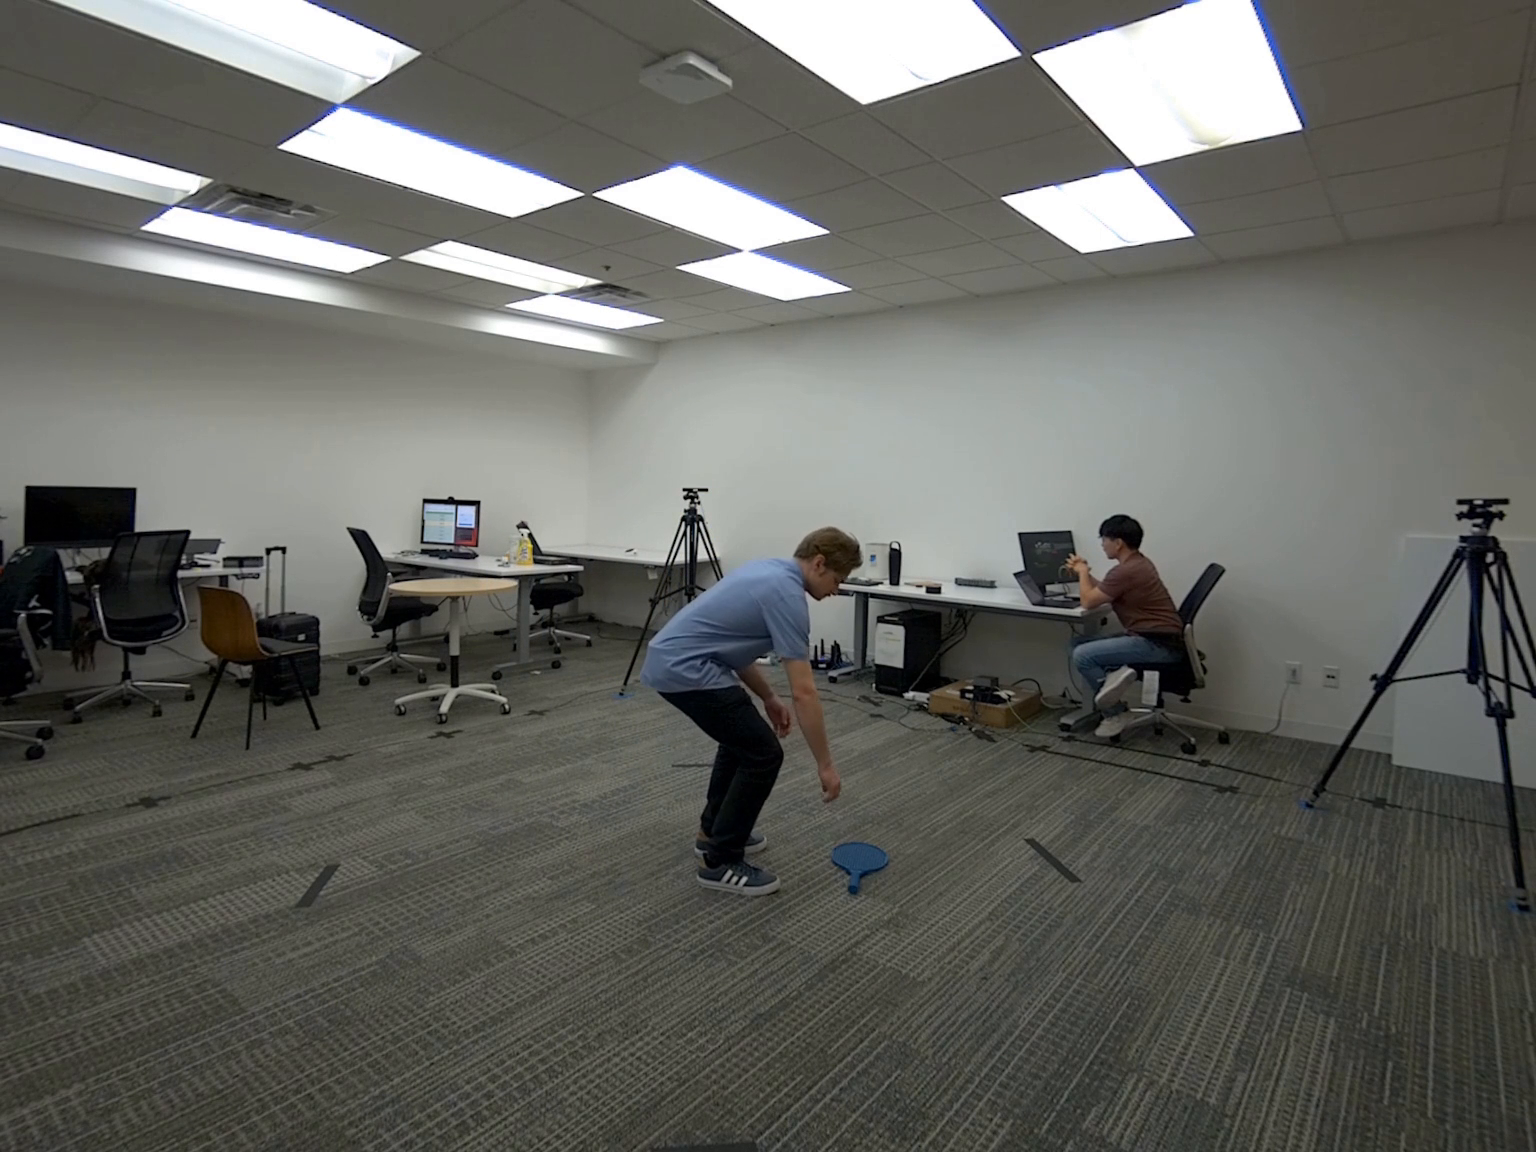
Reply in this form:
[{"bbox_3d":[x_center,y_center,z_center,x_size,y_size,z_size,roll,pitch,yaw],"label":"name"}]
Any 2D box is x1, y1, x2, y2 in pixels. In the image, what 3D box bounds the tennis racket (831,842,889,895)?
[{"bbox_3d":[0.325,1.066,3.148,0.217,0.032,0.427,2,4,12],"label":"tennis racket"}]
